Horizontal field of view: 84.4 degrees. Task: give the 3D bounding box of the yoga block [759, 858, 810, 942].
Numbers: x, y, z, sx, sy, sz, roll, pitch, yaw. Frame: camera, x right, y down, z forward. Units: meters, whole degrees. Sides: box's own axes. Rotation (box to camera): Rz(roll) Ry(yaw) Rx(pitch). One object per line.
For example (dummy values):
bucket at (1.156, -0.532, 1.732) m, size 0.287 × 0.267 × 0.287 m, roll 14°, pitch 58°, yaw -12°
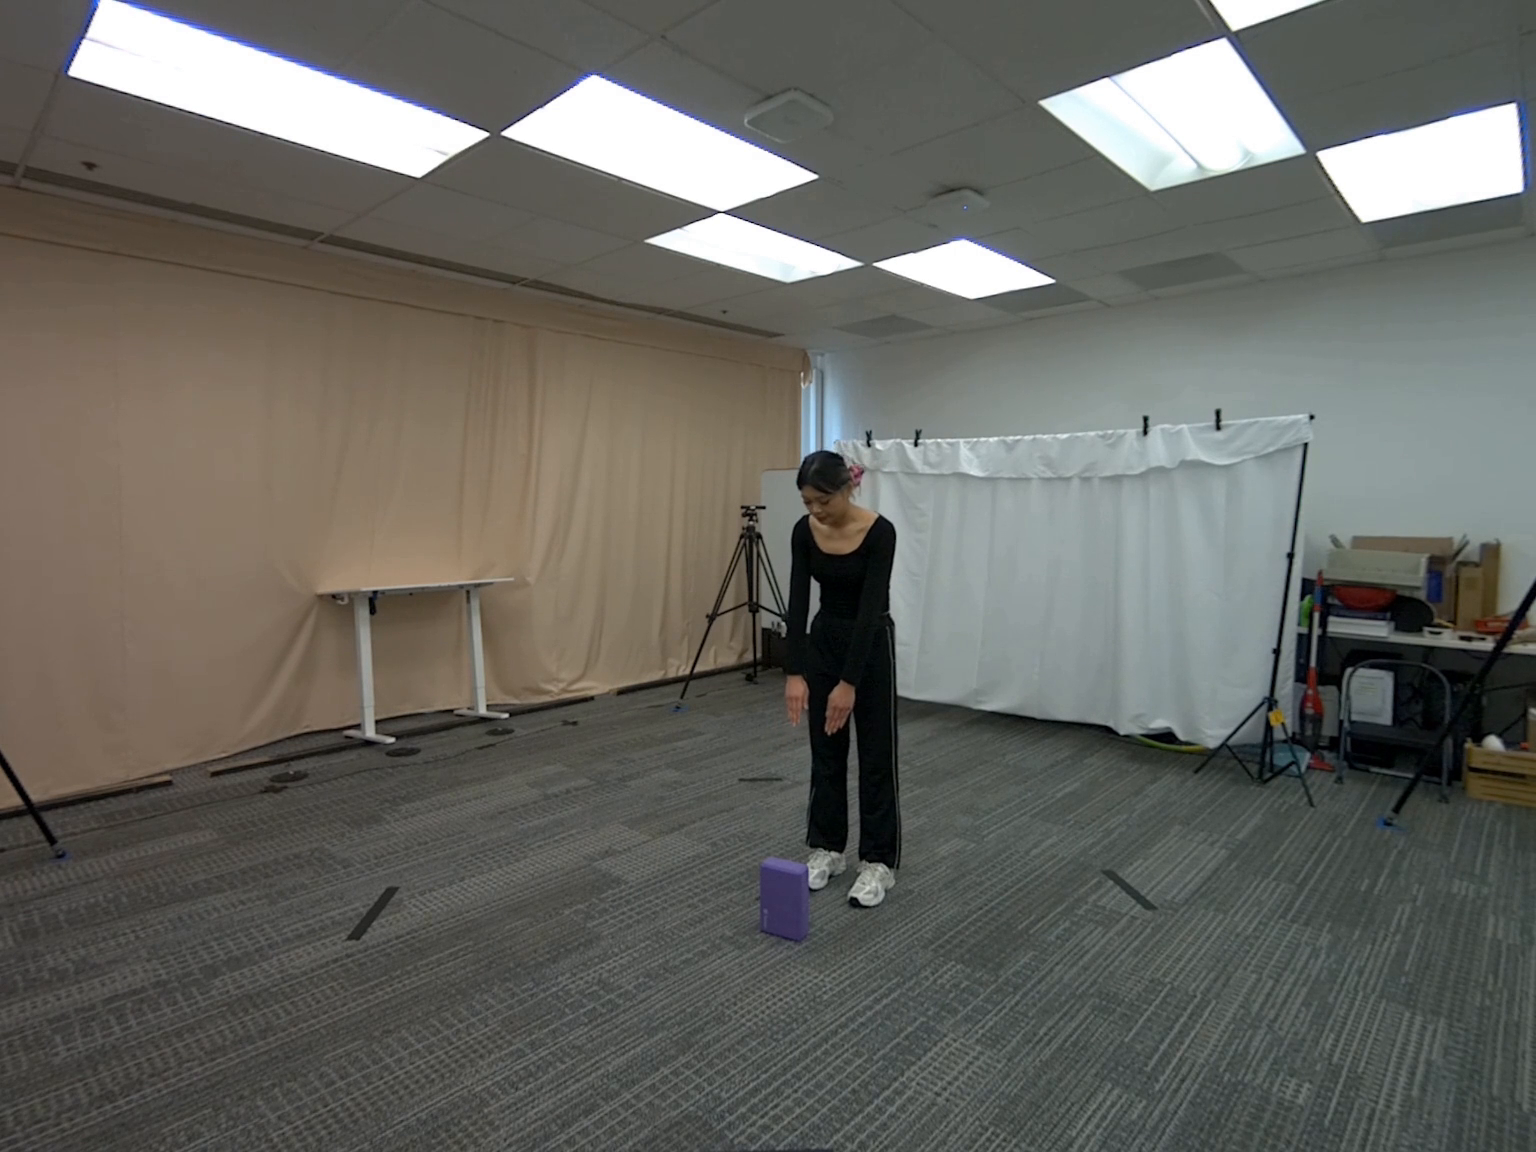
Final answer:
yoga block at (0.057, 1.049, 2.736) m, size 0.153 × 0.229 × 0.074 m, roll 3°, pitch 5°, yaw 28°
